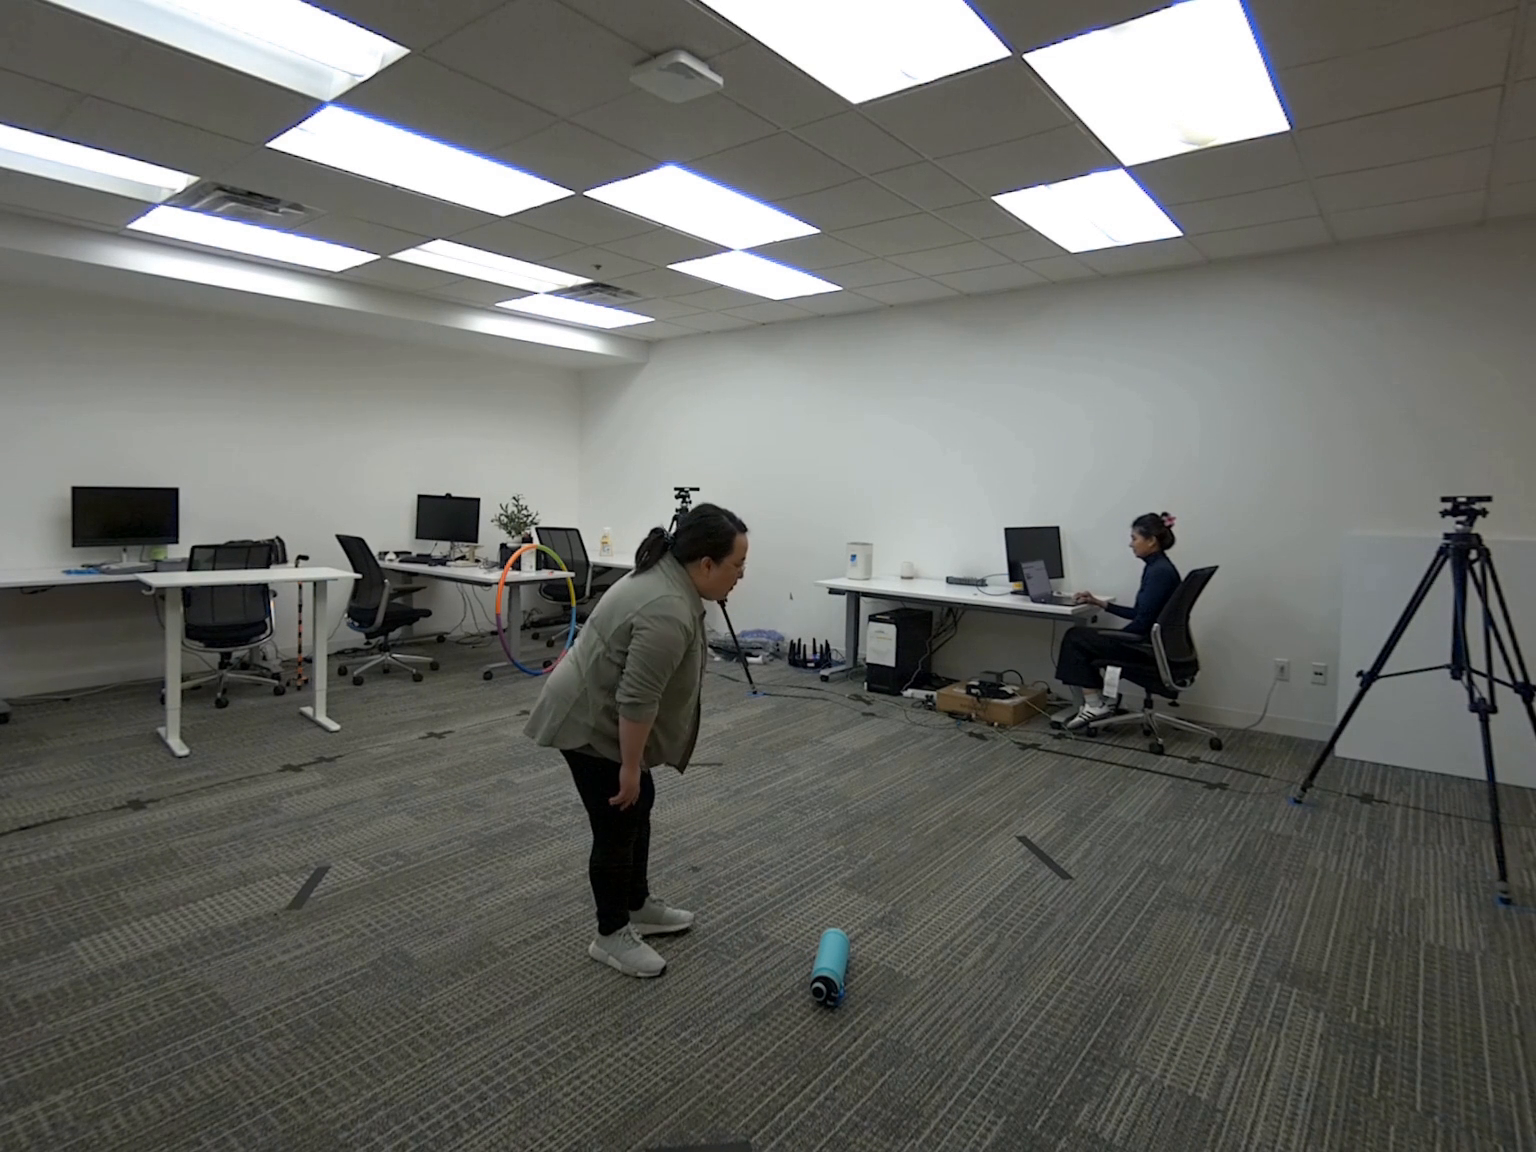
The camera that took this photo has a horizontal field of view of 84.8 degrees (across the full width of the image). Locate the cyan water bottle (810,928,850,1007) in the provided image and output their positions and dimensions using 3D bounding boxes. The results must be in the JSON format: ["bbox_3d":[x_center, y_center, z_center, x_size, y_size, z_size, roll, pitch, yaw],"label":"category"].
[{"bbox_3d":[0.169,1.100,2.395,0.093,0.092,0.281,2,5,10],"label":"cyan water bottle"}]
